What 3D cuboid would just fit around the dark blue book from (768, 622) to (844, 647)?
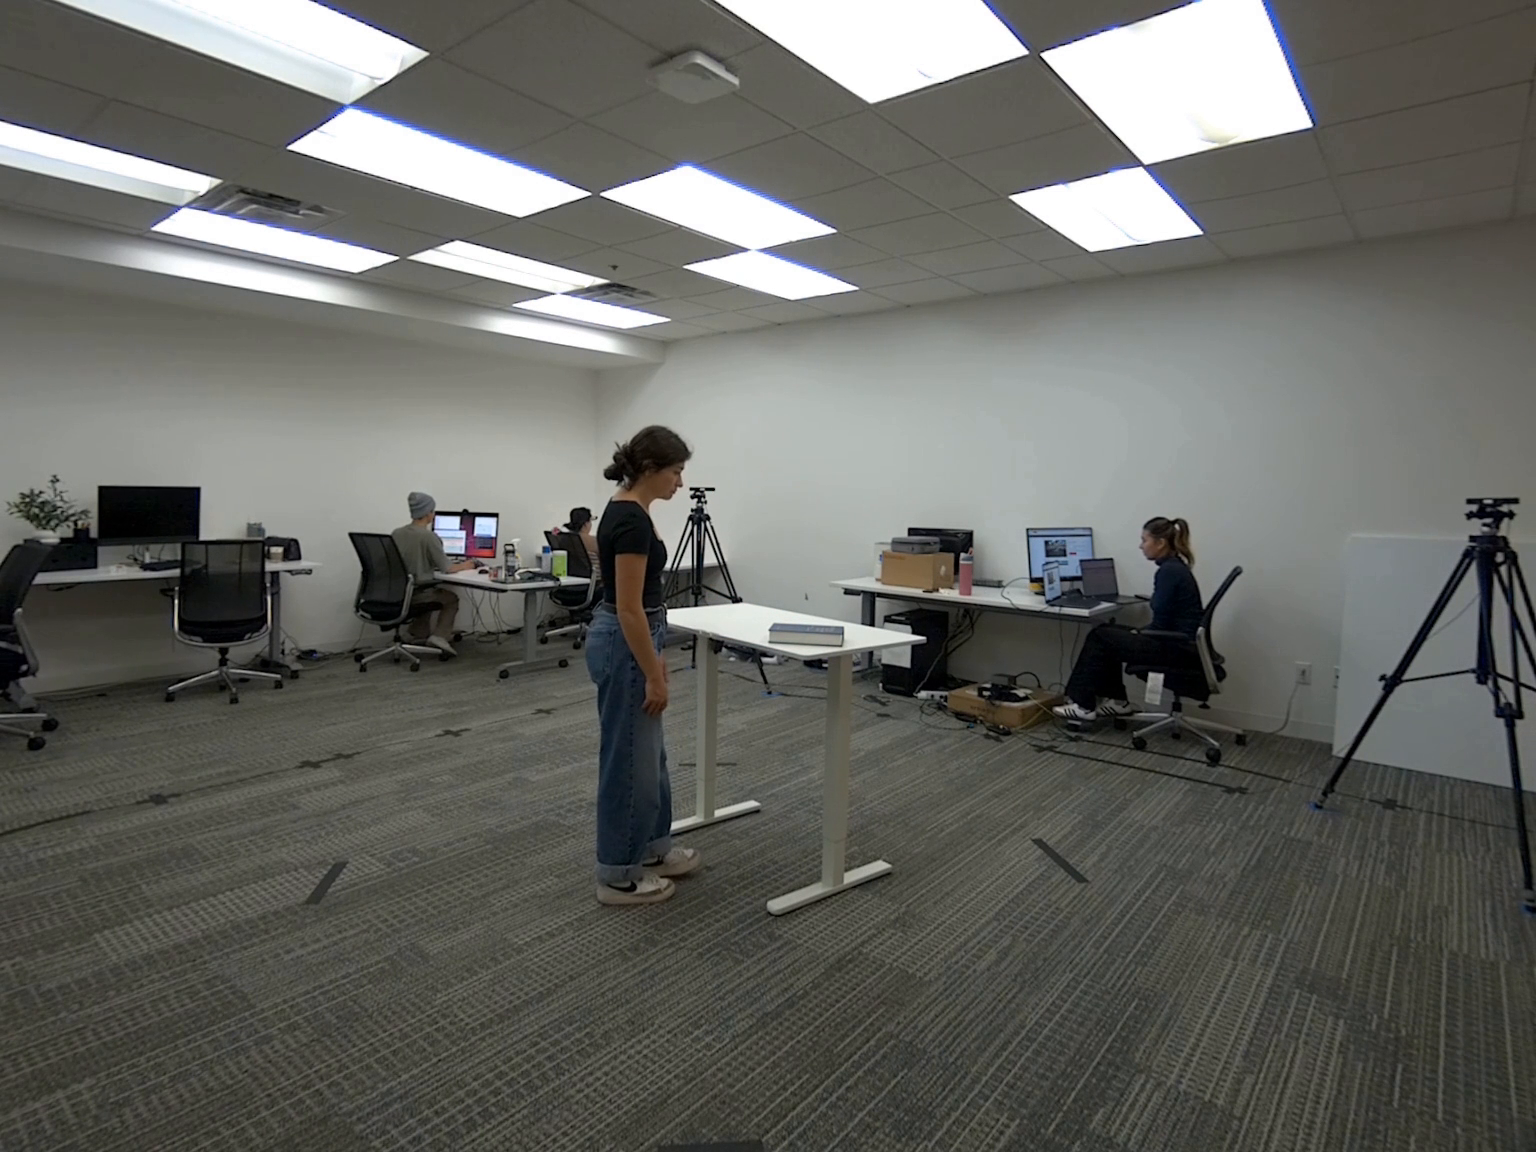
[{"bbox_3d":[0.125,0.197,2.886,0.248,0.045,0.162,4,7,10],"label":"dark blue book"}]
